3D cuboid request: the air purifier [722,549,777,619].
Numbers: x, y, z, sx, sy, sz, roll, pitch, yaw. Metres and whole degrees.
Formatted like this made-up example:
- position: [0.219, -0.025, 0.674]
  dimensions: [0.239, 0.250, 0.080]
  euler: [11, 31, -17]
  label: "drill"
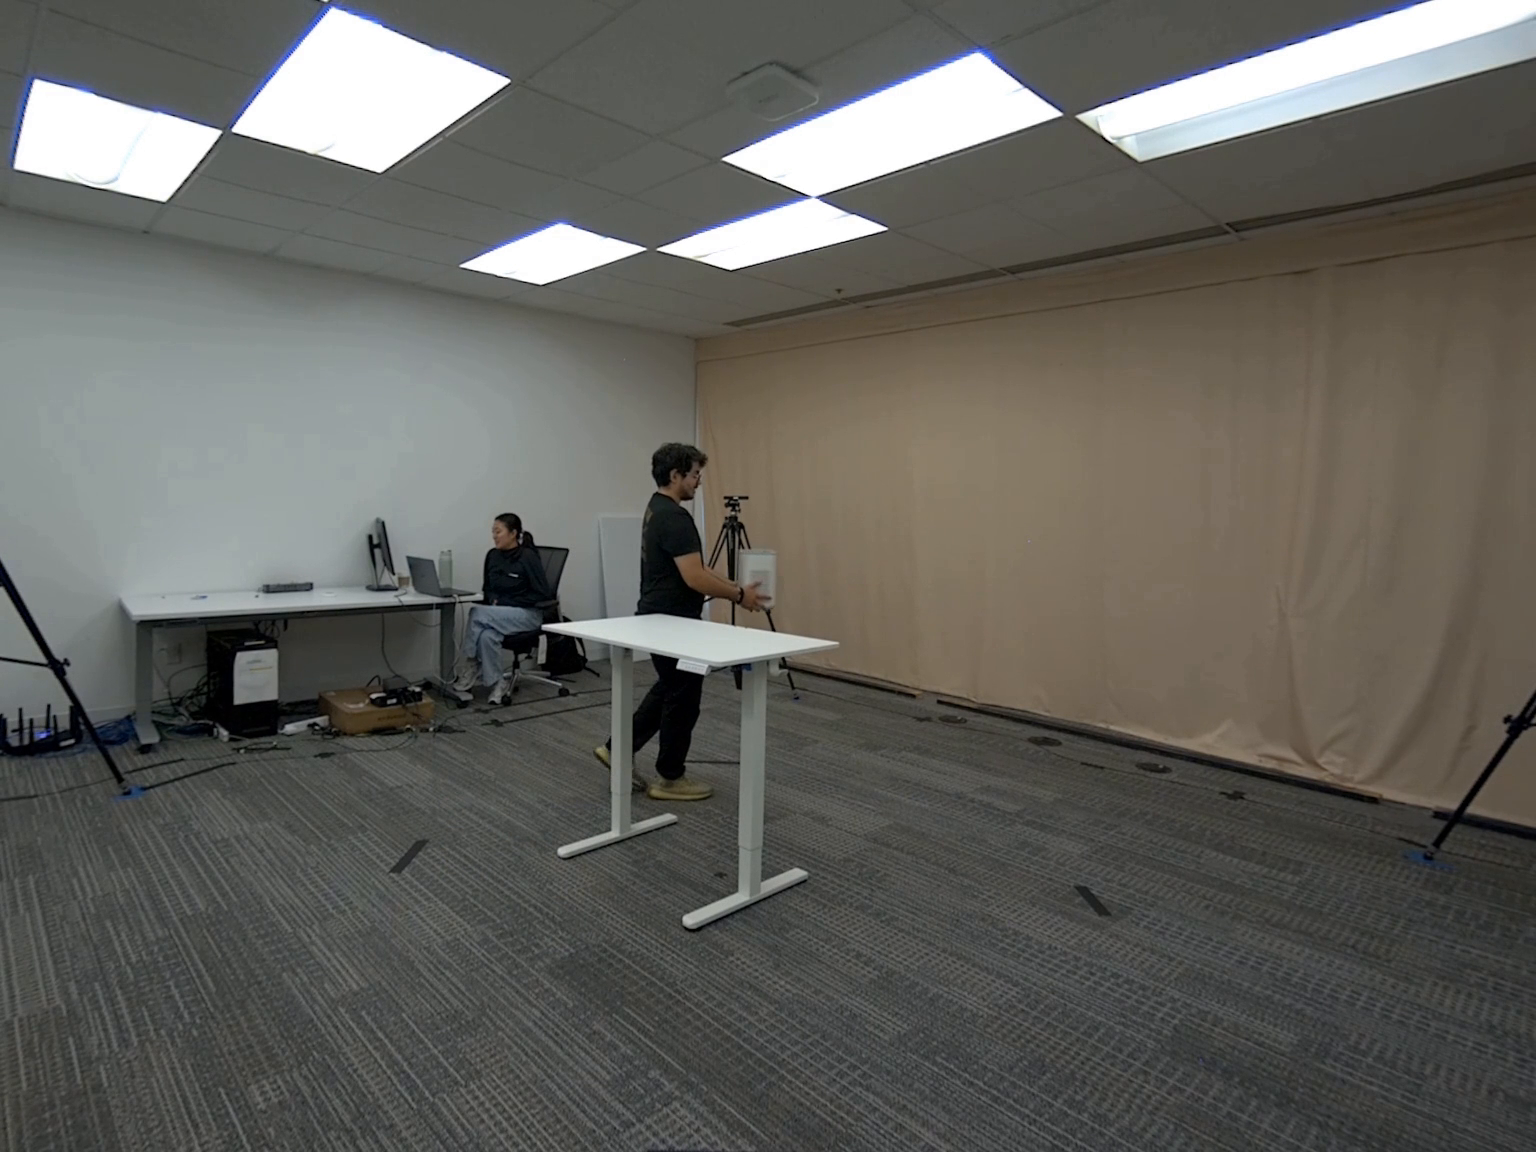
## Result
- position: [-0.070, 0.014, 3.916]
  dimensions: [0.170, 0.264, 0.173]
  euler: [0, 7, -12]
  label: "air purifier"
